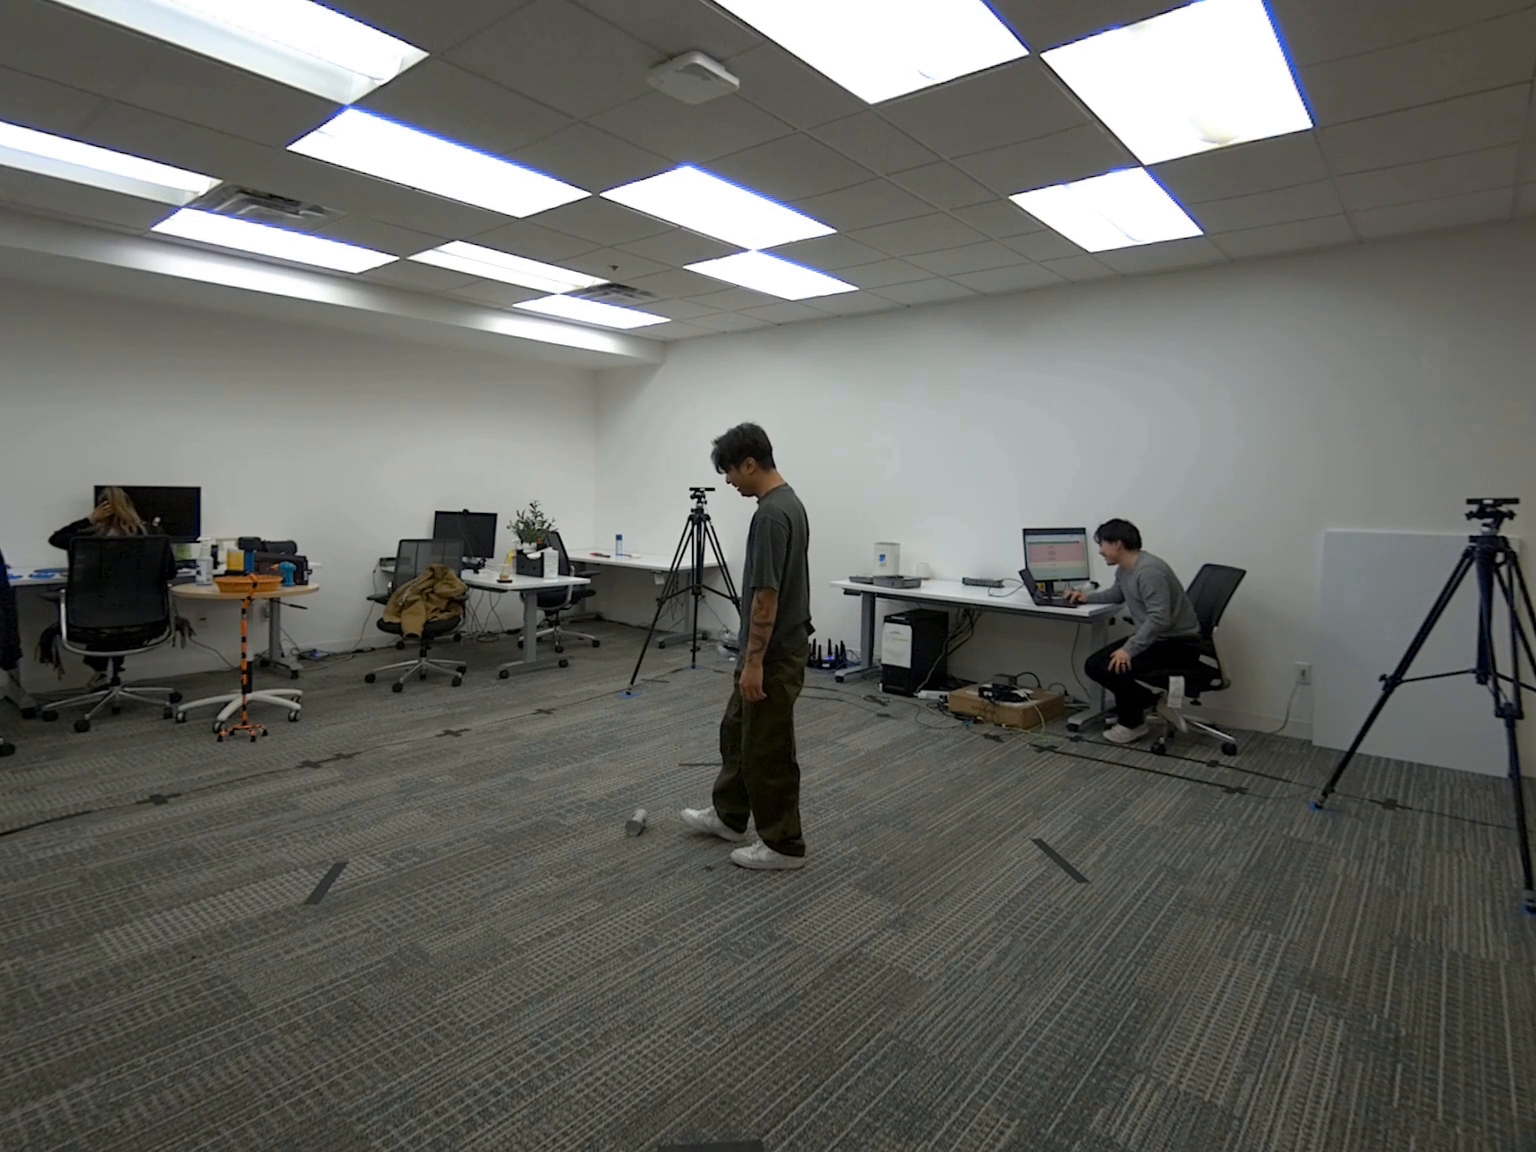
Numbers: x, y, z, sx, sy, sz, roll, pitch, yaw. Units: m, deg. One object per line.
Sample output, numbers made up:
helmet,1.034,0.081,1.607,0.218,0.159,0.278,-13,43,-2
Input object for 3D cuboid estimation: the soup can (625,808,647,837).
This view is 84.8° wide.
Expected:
soup can,-0.537,0.989,3.453,0.067,0.067,0.121,1,1,4
